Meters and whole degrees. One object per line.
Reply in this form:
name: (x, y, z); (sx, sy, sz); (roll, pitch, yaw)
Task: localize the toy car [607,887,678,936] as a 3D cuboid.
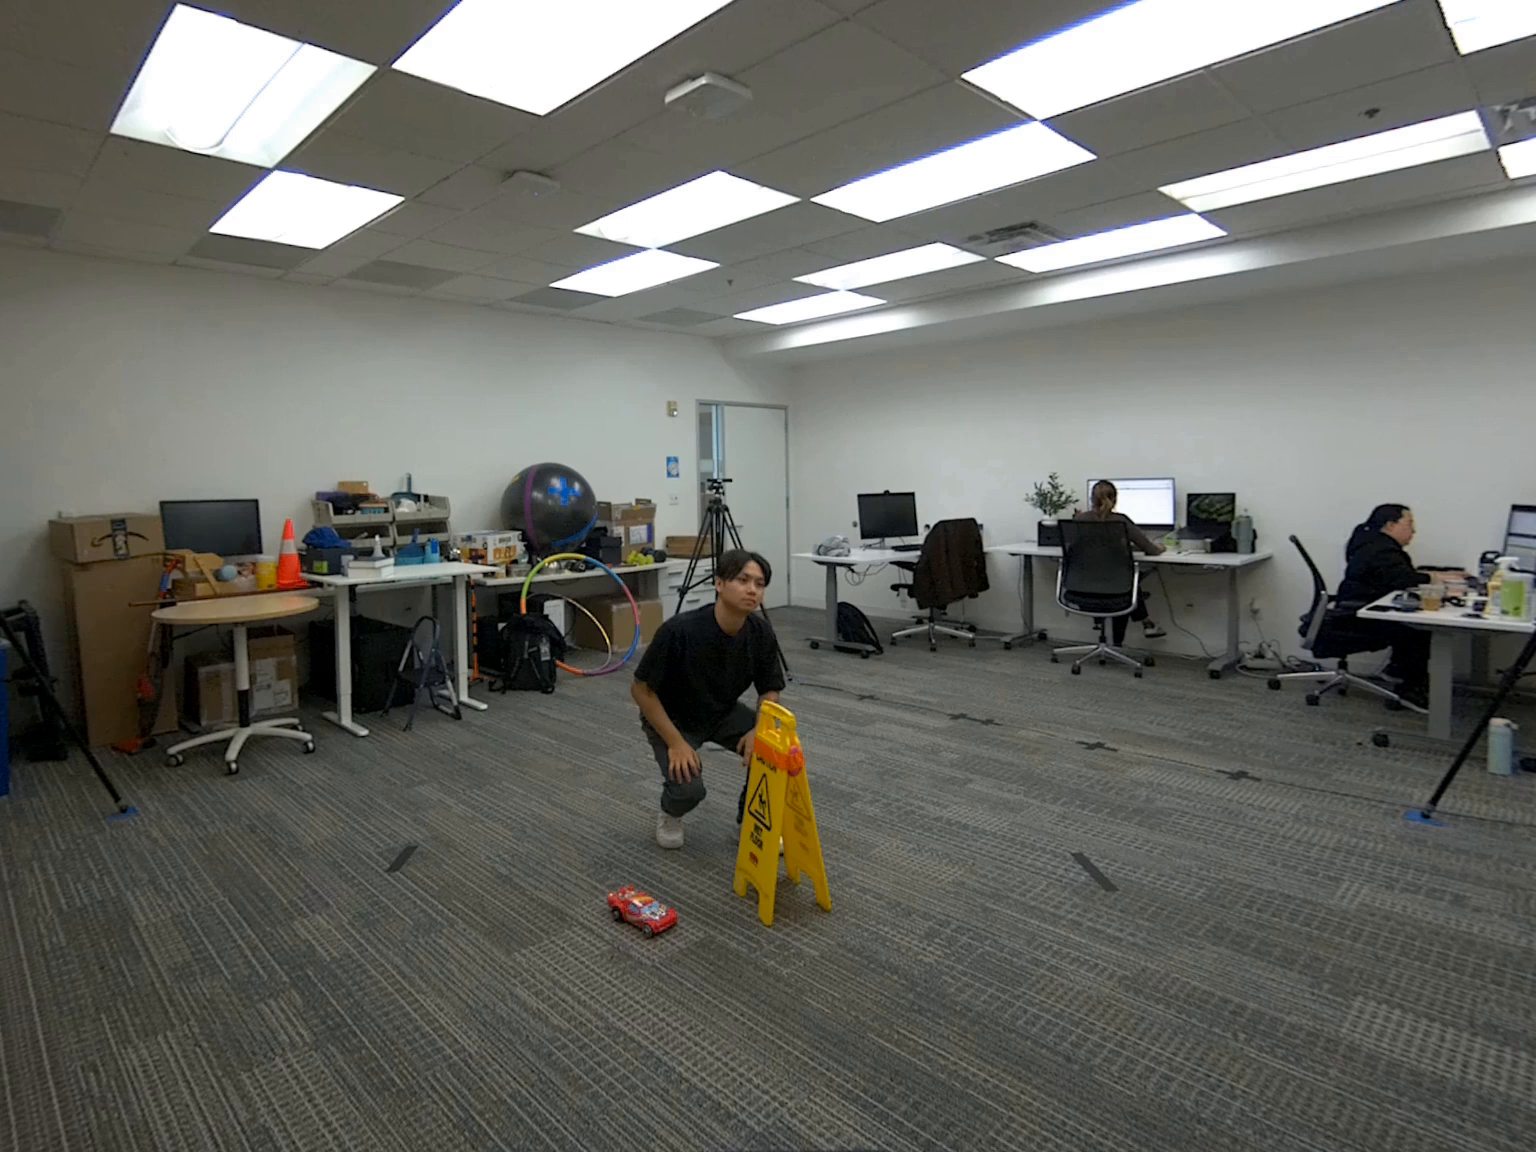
toy car: (-0.408, 1.068, 2.719); (0.264, 0.082, 0.127); (19, 18, 41)
